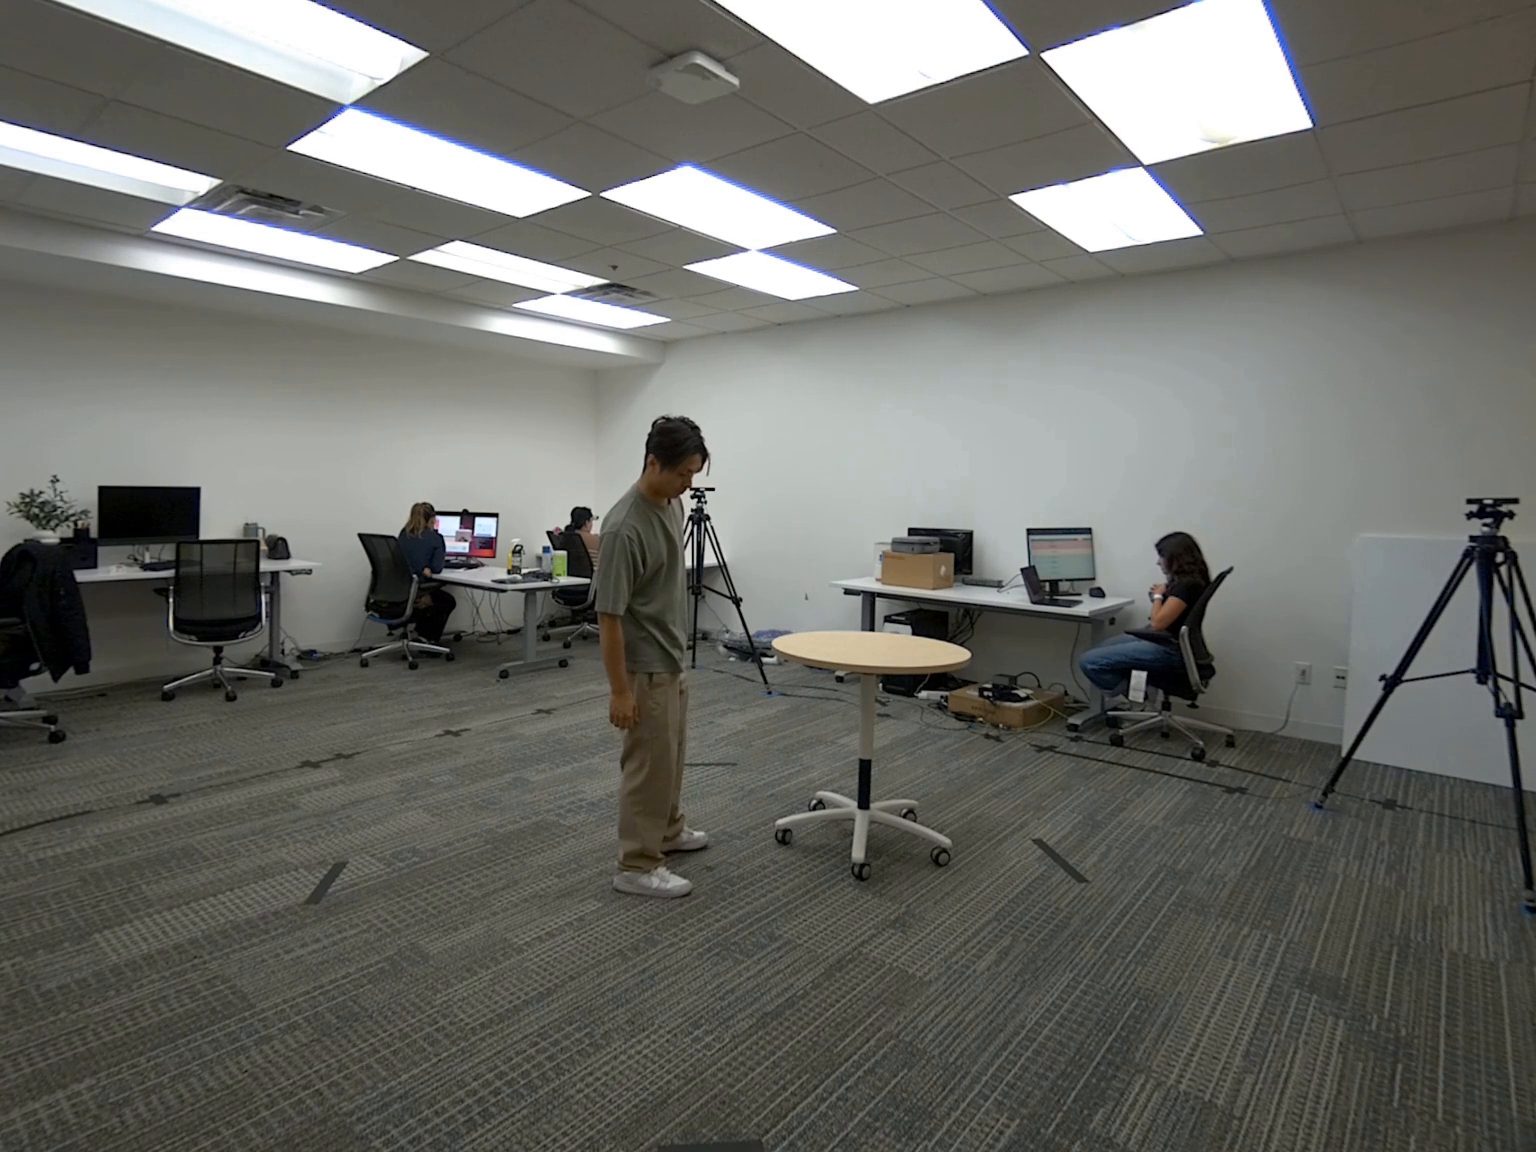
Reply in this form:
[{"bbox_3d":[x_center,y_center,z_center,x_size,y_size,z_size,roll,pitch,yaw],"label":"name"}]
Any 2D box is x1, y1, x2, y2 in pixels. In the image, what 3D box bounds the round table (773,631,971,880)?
[{"bbox_3d":[0.386,0.665,3.339,0.784,0.784,0.789,1,4,-2],"label":"round table"}]
